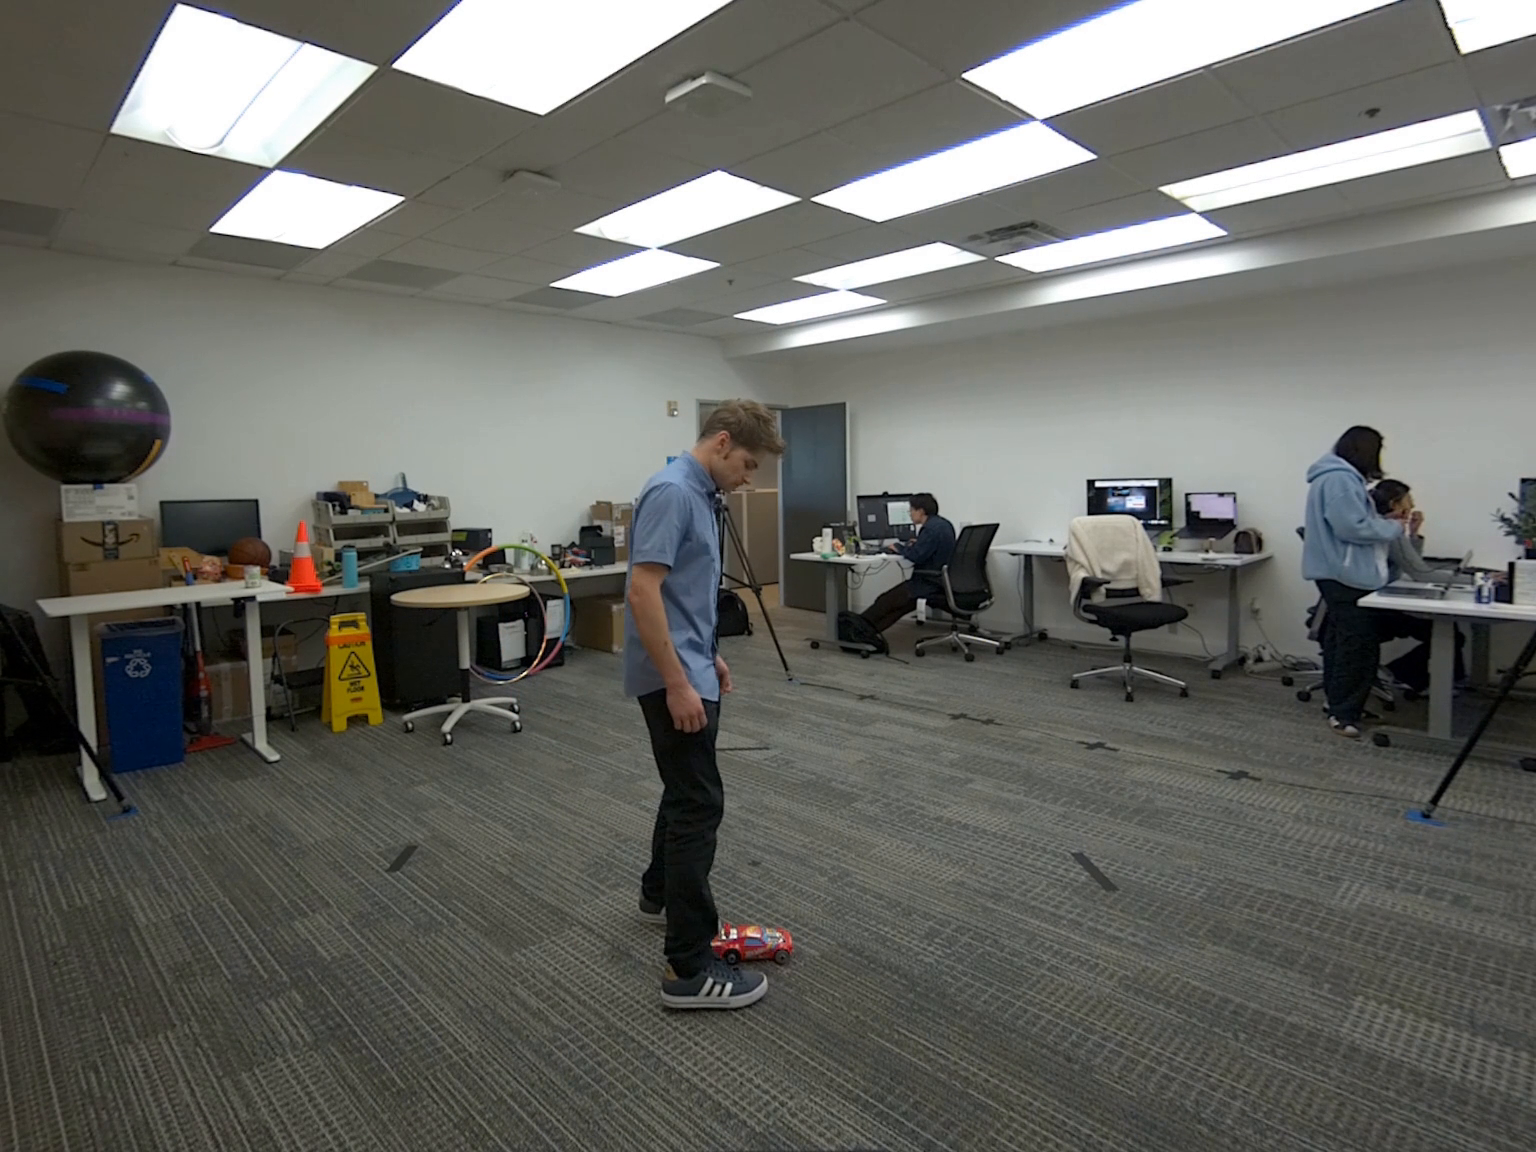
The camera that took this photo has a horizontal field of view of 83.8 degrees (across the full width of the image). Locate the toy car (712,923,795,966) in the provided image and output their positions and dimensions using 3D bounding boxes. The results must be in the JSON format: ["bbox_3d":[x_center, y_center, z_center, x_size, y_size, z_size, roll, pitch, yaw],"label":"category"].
[{"bbox_3d":[-0.052,1.081,2.511,0.254,0.083,0.131,9,4,-3],"label":"toy car"}]
